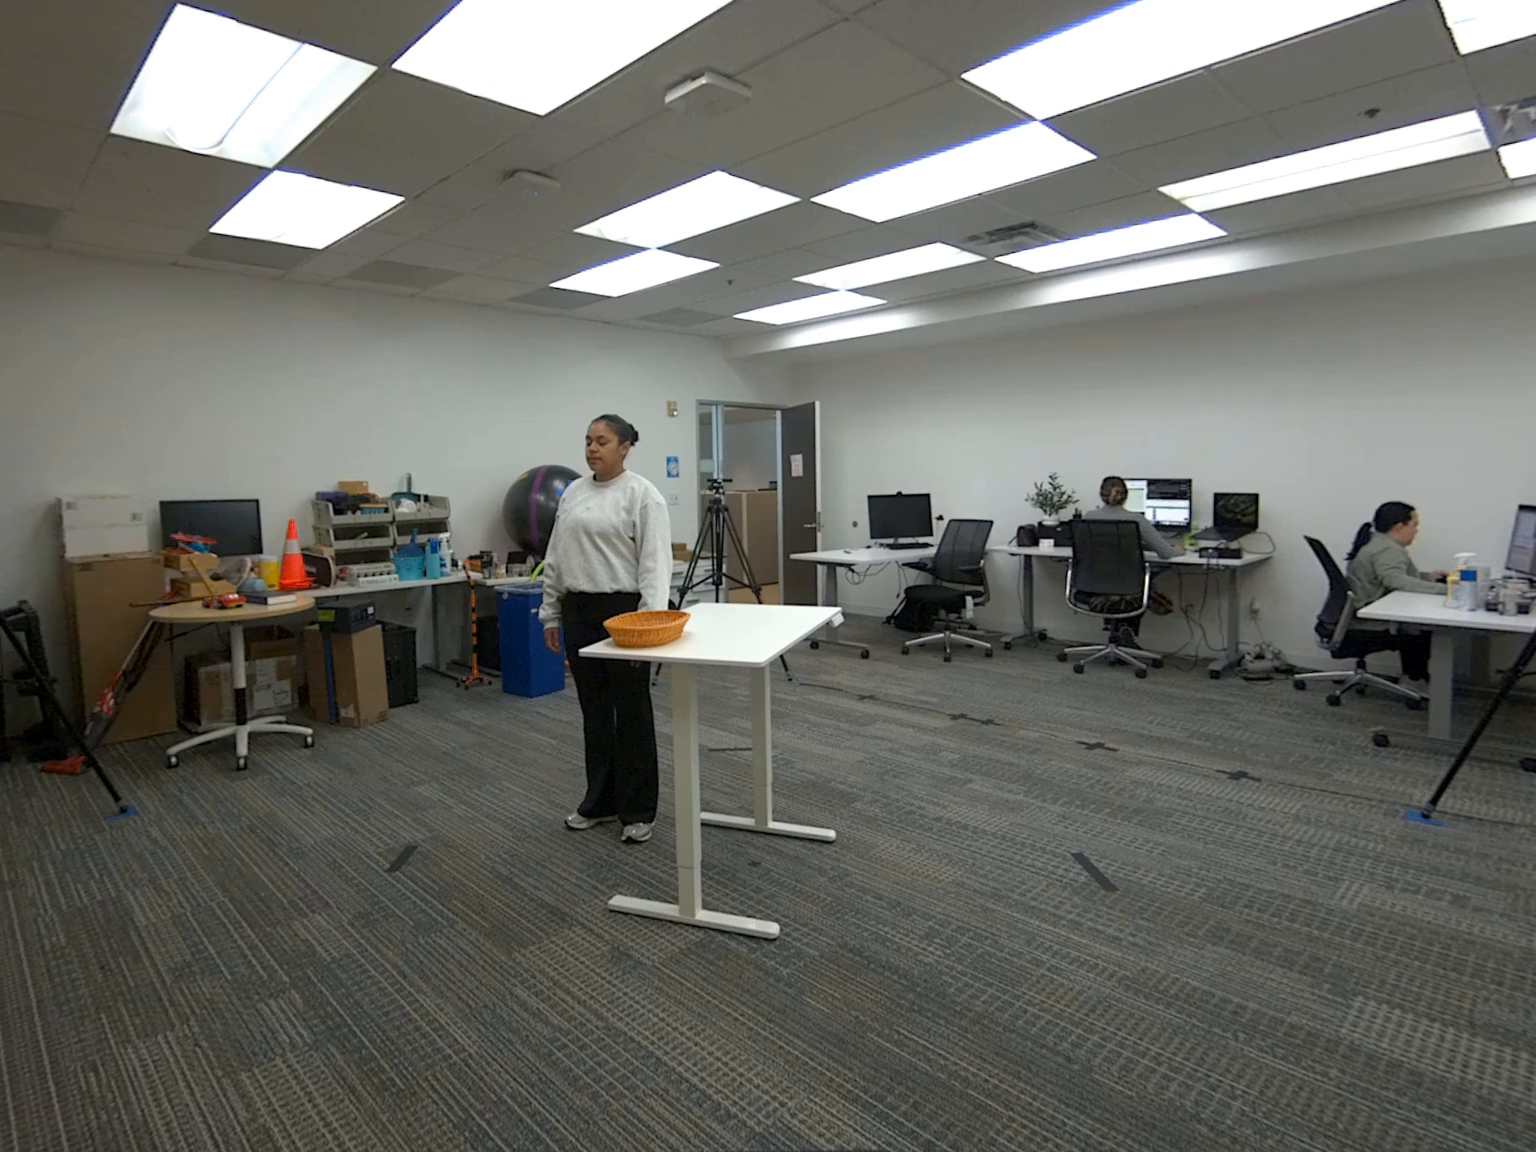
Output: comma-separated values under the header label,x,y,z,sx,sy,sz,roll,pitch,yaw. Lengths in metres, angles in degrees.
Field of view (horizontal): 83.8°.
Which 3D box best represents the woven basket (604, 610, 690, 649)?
label,x,y,z,sx,sy,sz,roll,pitch,yaw
woven basket,-0.397,0.178,2.784,0.258,0.073,0.344,2,7,22
